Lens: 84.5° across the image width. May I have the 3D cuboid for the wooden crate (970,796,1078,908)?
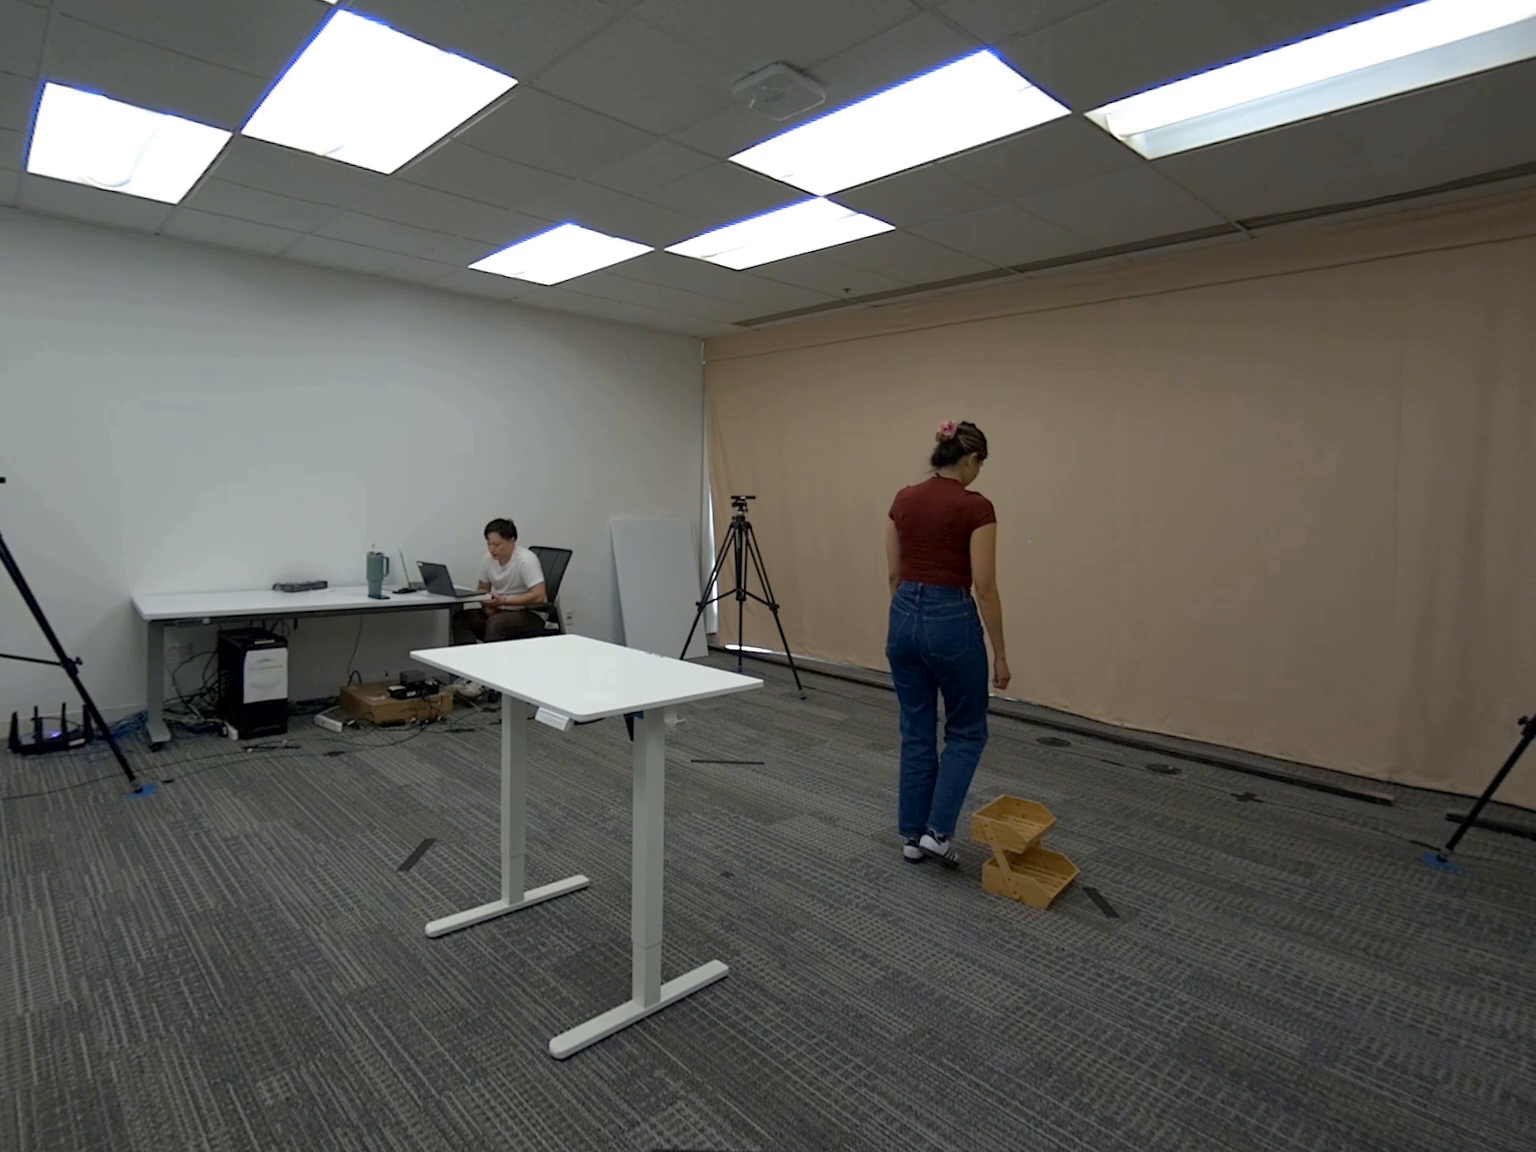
[{"bbox_3d":[0.941,1.000,3.088,0.309,0.273,0.317,4,5,38],"label":"wooden crate"}]
